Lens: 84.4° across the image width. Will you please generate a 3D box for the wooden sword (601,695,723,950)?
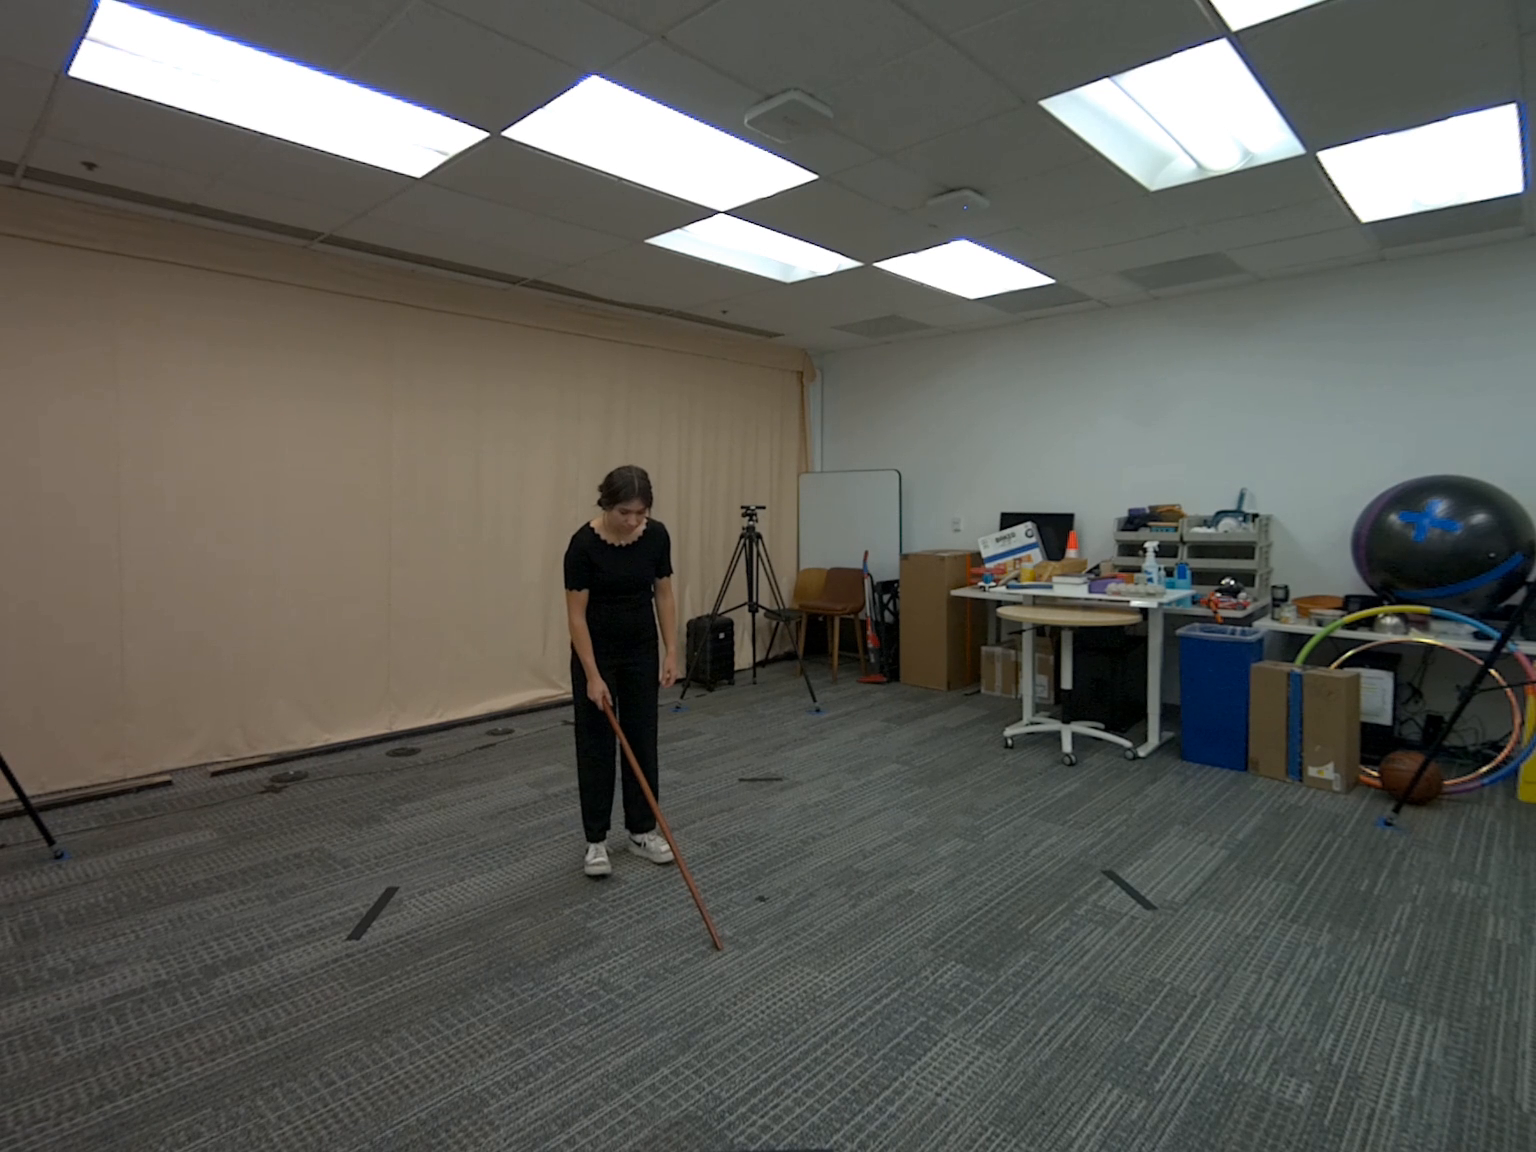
[{"bbox_3d":[-0.387,0.805,2.915,0.024,0.050,1.057,-20,54,-21],"label":"wooden sword"}]
